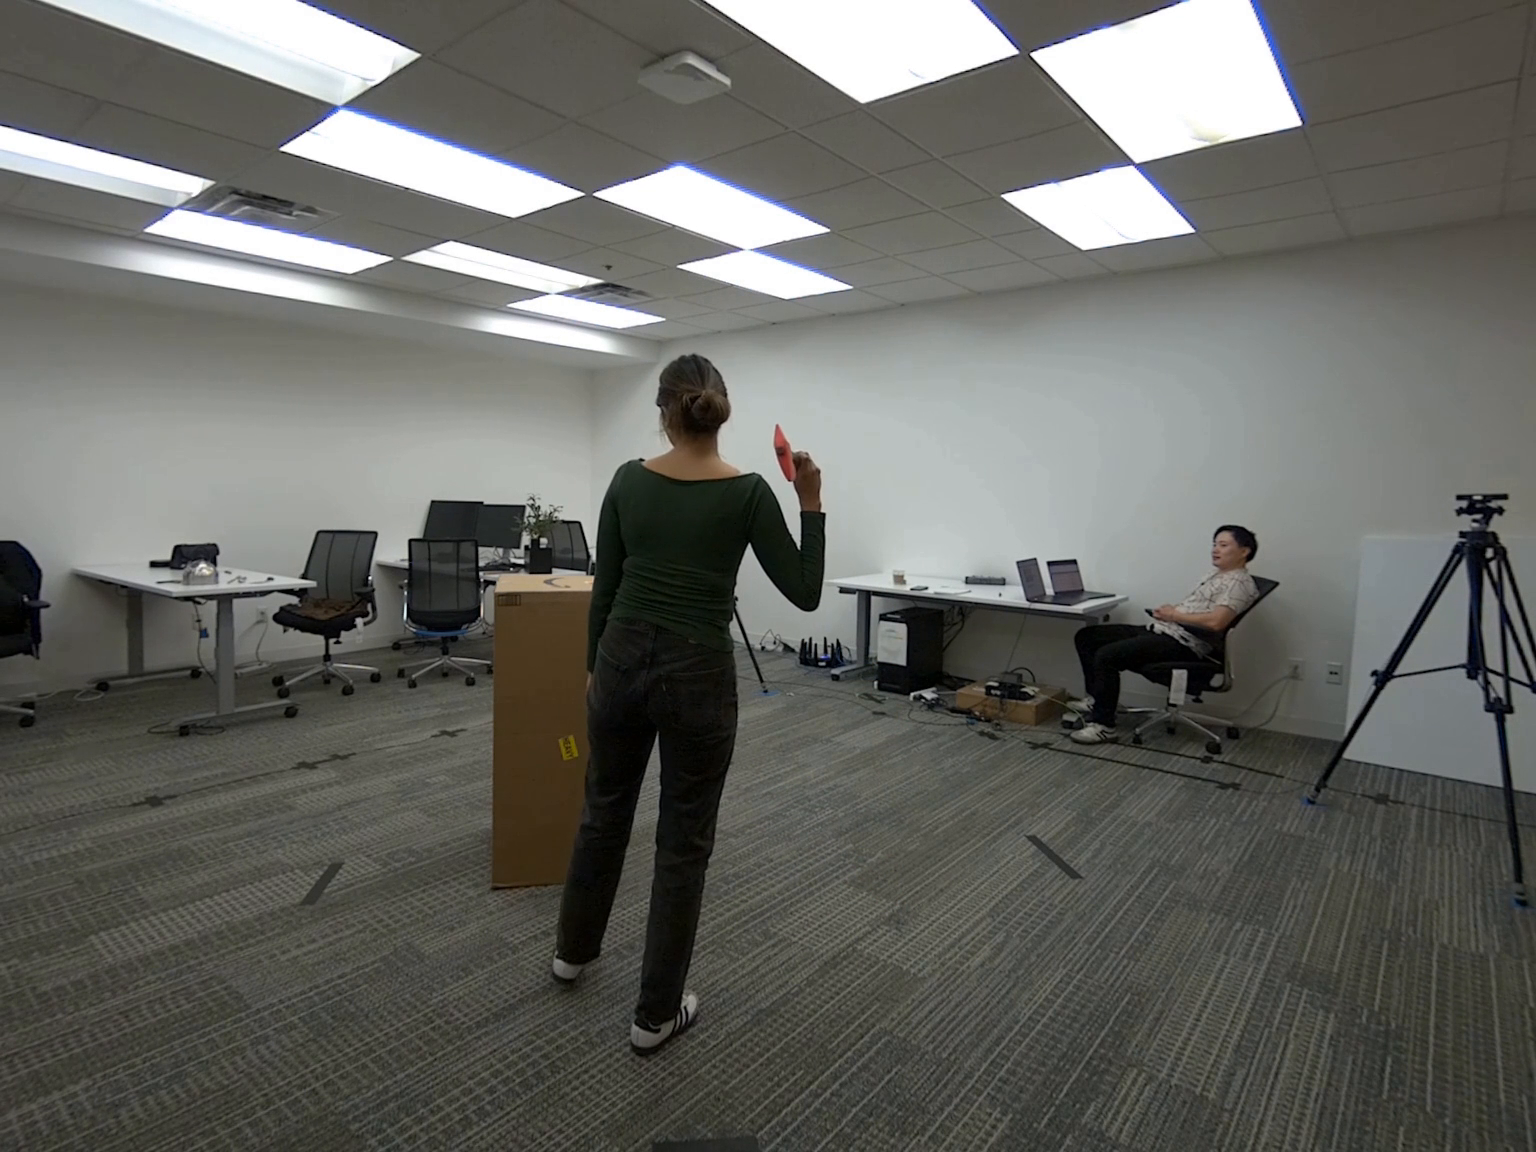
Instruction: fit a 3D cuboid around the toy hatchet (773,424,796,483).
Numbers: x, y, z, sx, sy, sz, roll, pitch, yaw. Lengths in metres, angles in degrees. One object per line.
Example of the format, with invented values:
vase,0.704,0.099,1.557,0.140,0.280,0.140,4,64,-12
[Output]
toy hatchet,0.056,-0.246,2.011,0.030,0.134,0.260,-14,-25,12
